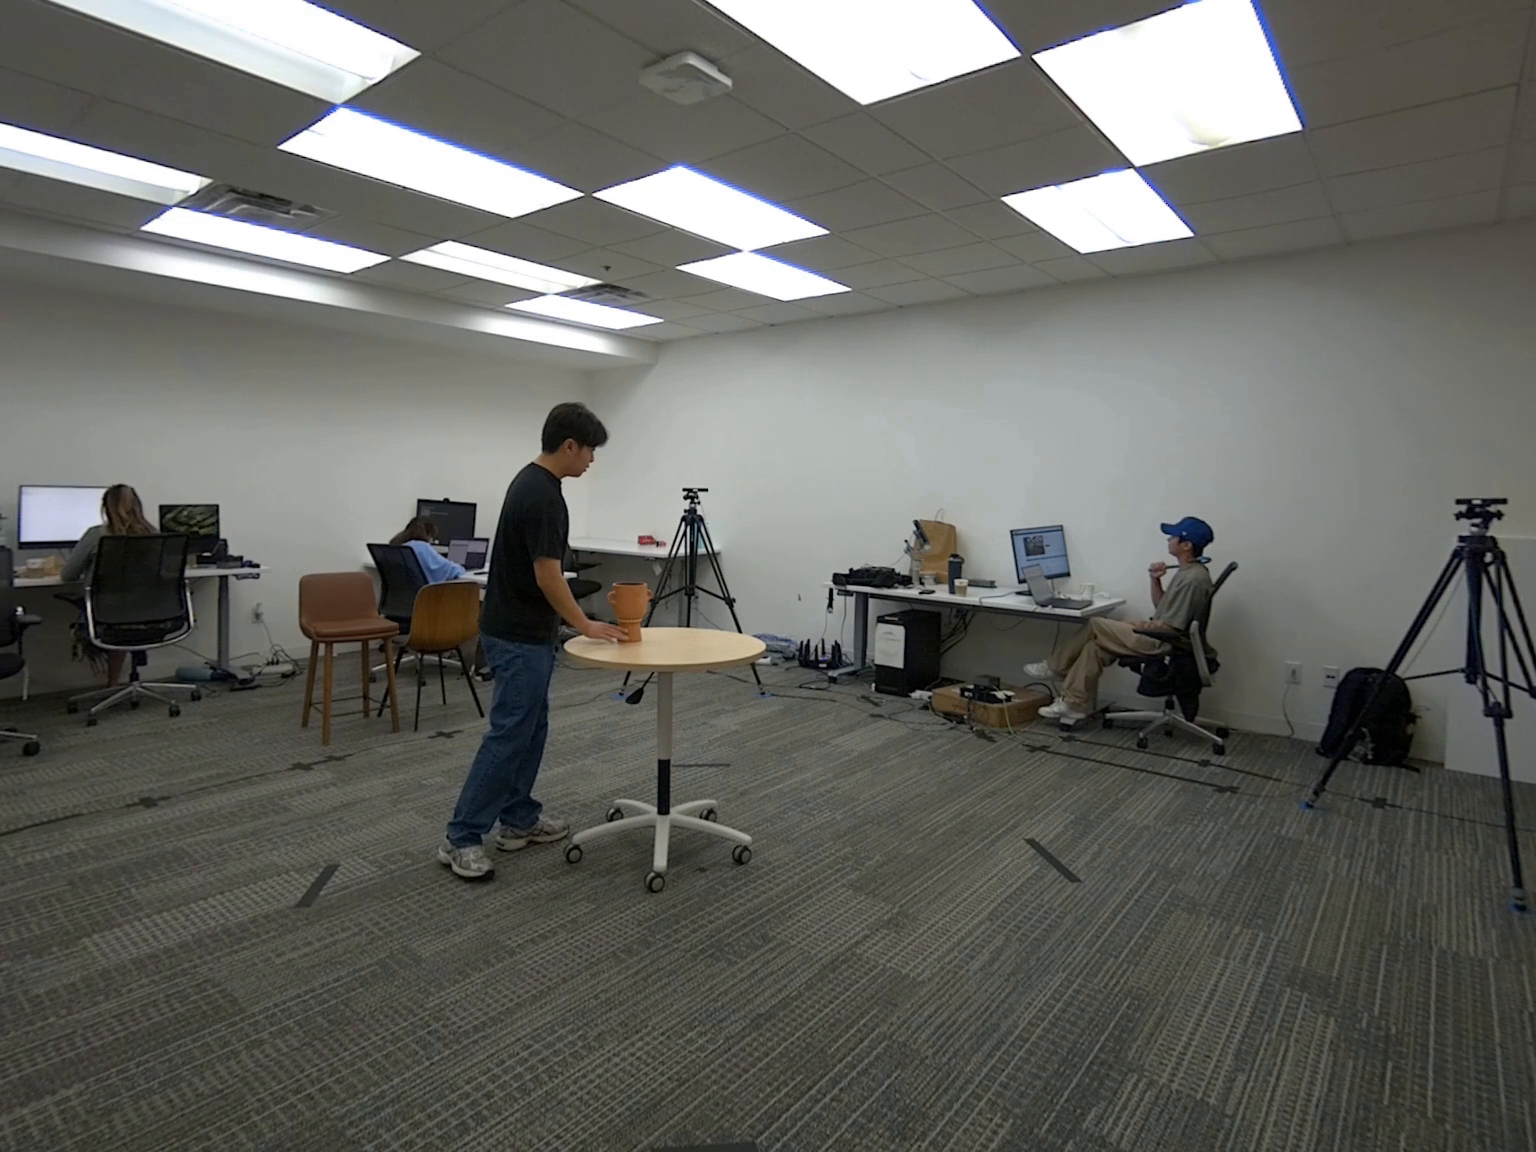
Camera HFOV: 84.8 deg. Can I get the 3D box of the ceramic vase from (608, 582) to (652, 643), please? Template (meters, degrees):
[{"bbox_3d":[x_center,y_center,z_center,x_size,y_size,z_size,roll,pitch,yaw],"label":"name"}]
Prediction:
[{"bbox_3d":[-0.558,0.142,3.302,0.160,0.219,0.134,1,5,5],"label":"ceramic vase"}]
